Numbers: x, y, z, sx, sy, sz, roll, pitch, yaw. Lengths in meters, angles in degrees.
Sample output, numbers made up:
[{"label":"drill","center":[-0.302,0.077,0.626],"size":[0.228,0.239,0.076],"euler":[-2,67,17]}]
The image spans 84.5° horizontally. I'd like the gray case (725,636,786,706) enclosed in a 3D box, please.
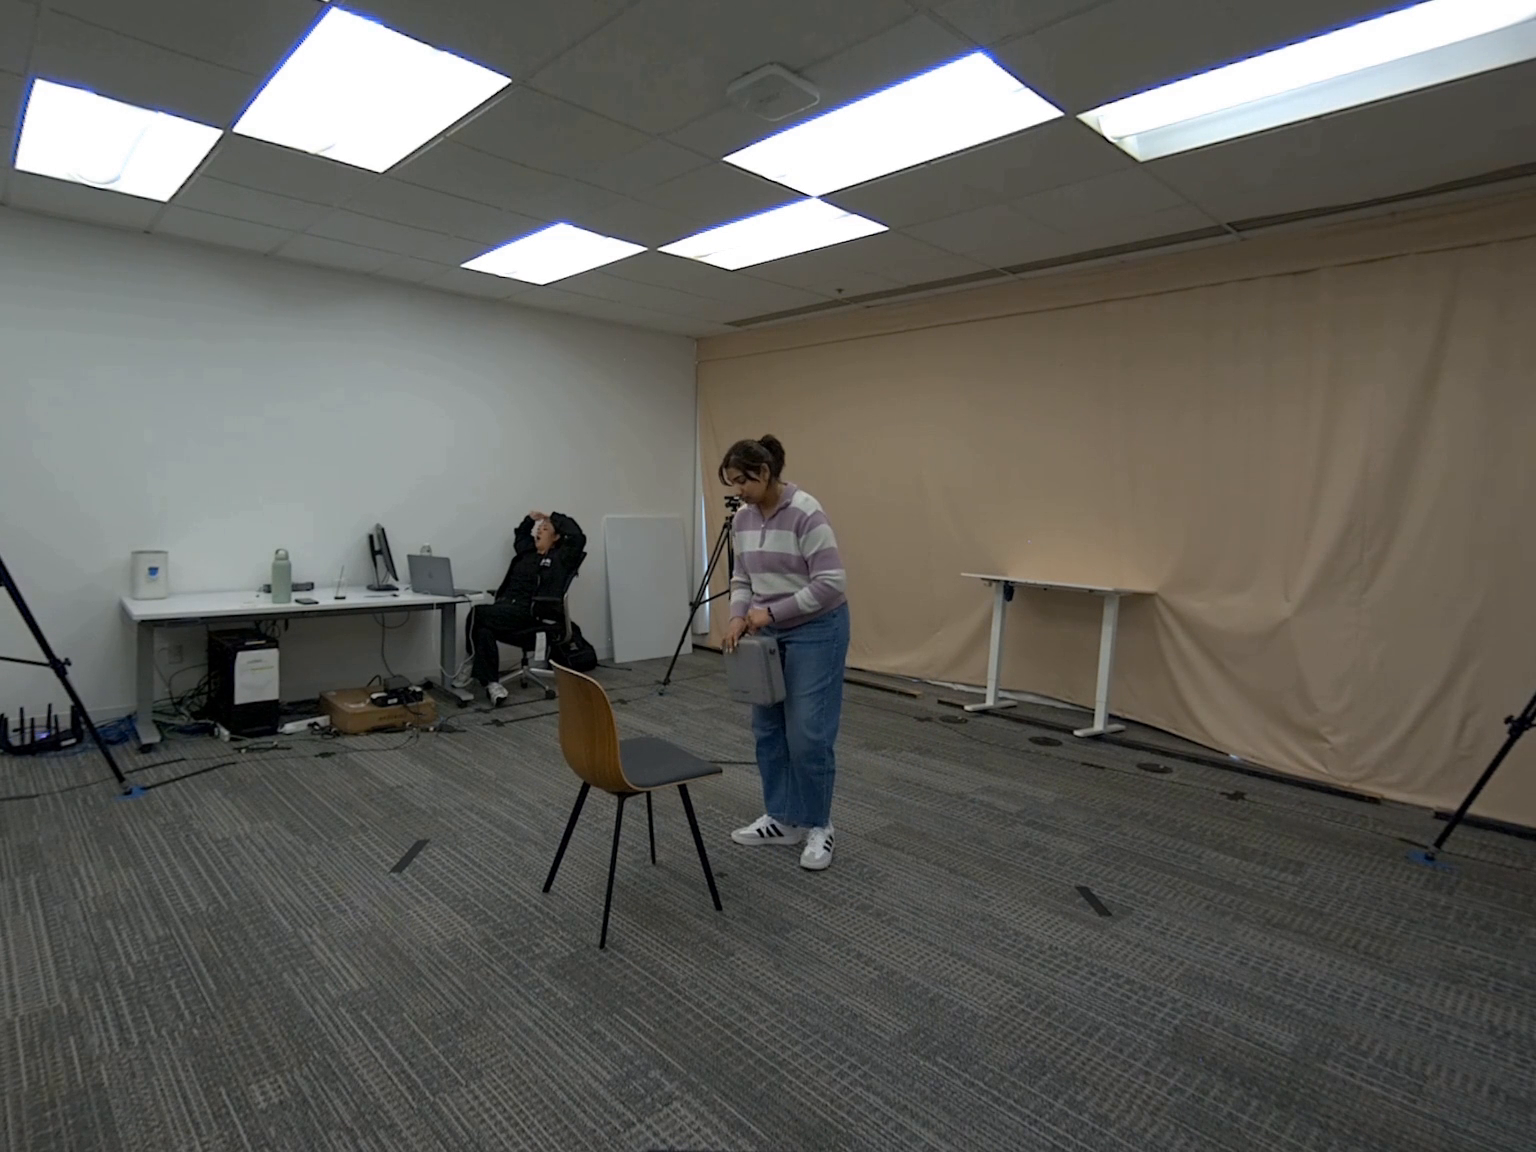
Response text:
[{"label":"gray case","center":[-0.065,0.352,3.205],"size":[0.102,0.260,0.262],"euler":[-7,2,-34]}]
